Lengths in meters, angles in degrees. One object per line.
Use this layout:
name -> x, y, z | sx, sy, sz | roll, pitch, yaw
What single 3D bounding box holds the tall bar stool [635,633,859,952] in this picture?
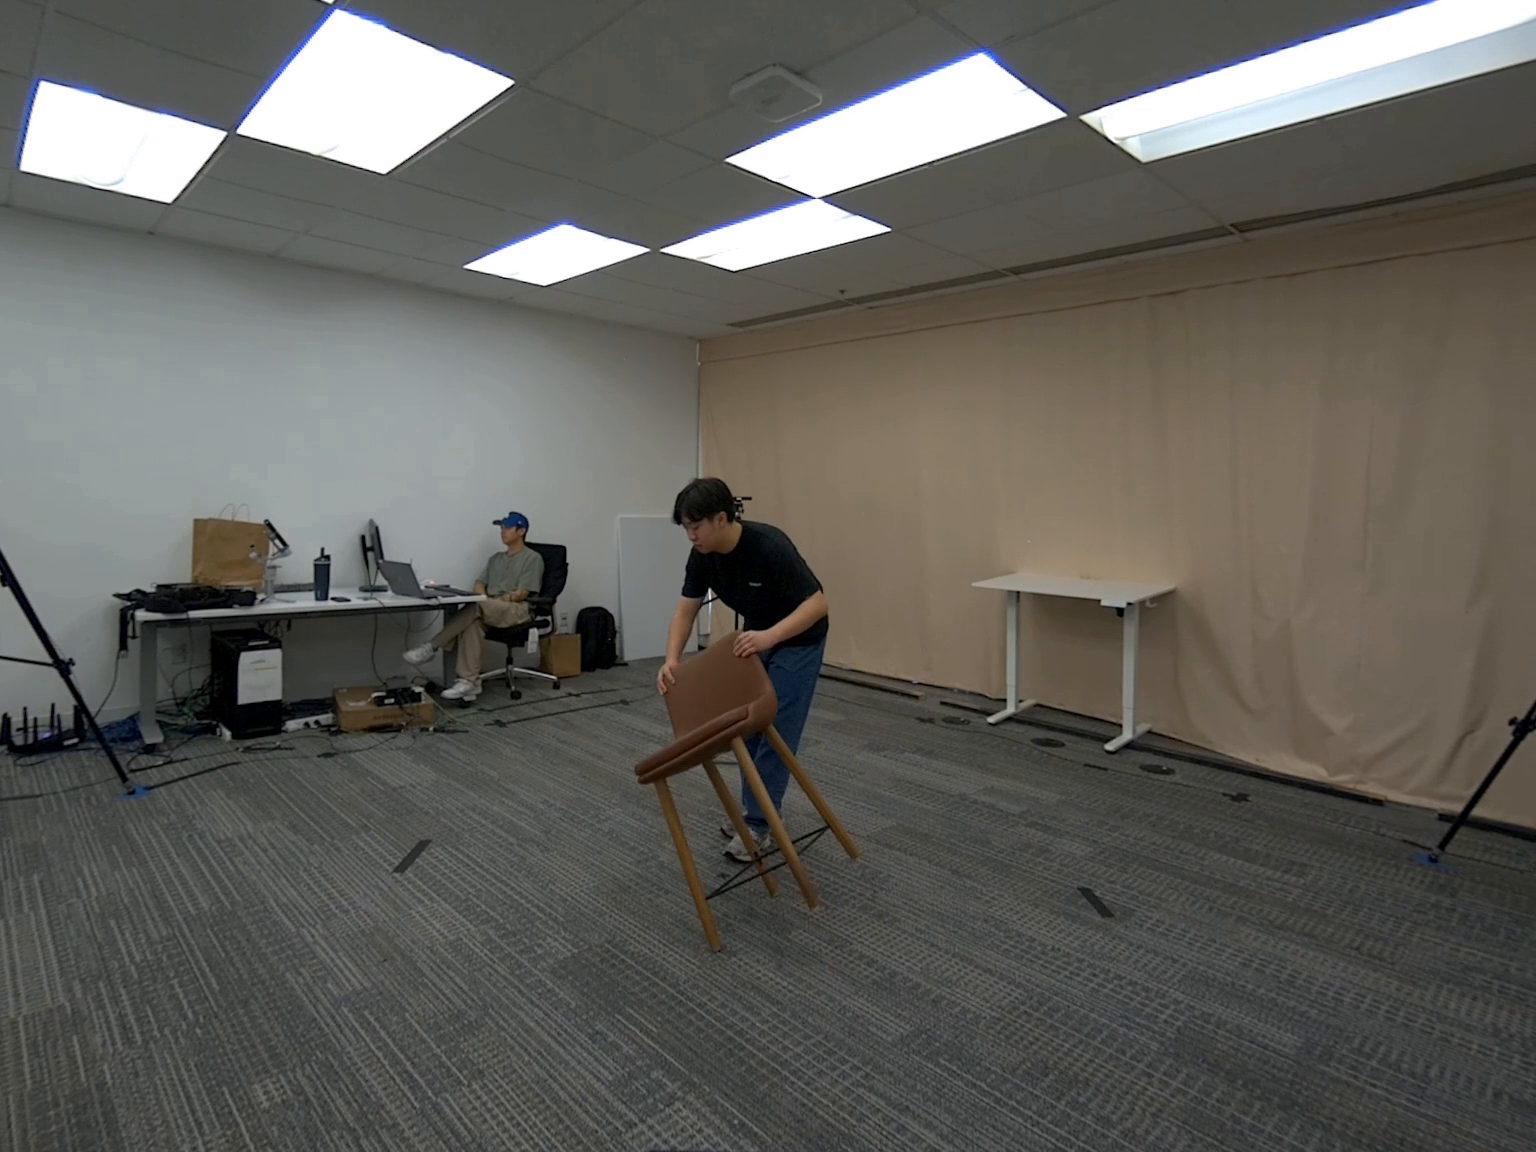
tall bar stool -> -0.130, 0.673, 2.797 | 0.459, 0.902, 0.458 | -33, -14, 24
